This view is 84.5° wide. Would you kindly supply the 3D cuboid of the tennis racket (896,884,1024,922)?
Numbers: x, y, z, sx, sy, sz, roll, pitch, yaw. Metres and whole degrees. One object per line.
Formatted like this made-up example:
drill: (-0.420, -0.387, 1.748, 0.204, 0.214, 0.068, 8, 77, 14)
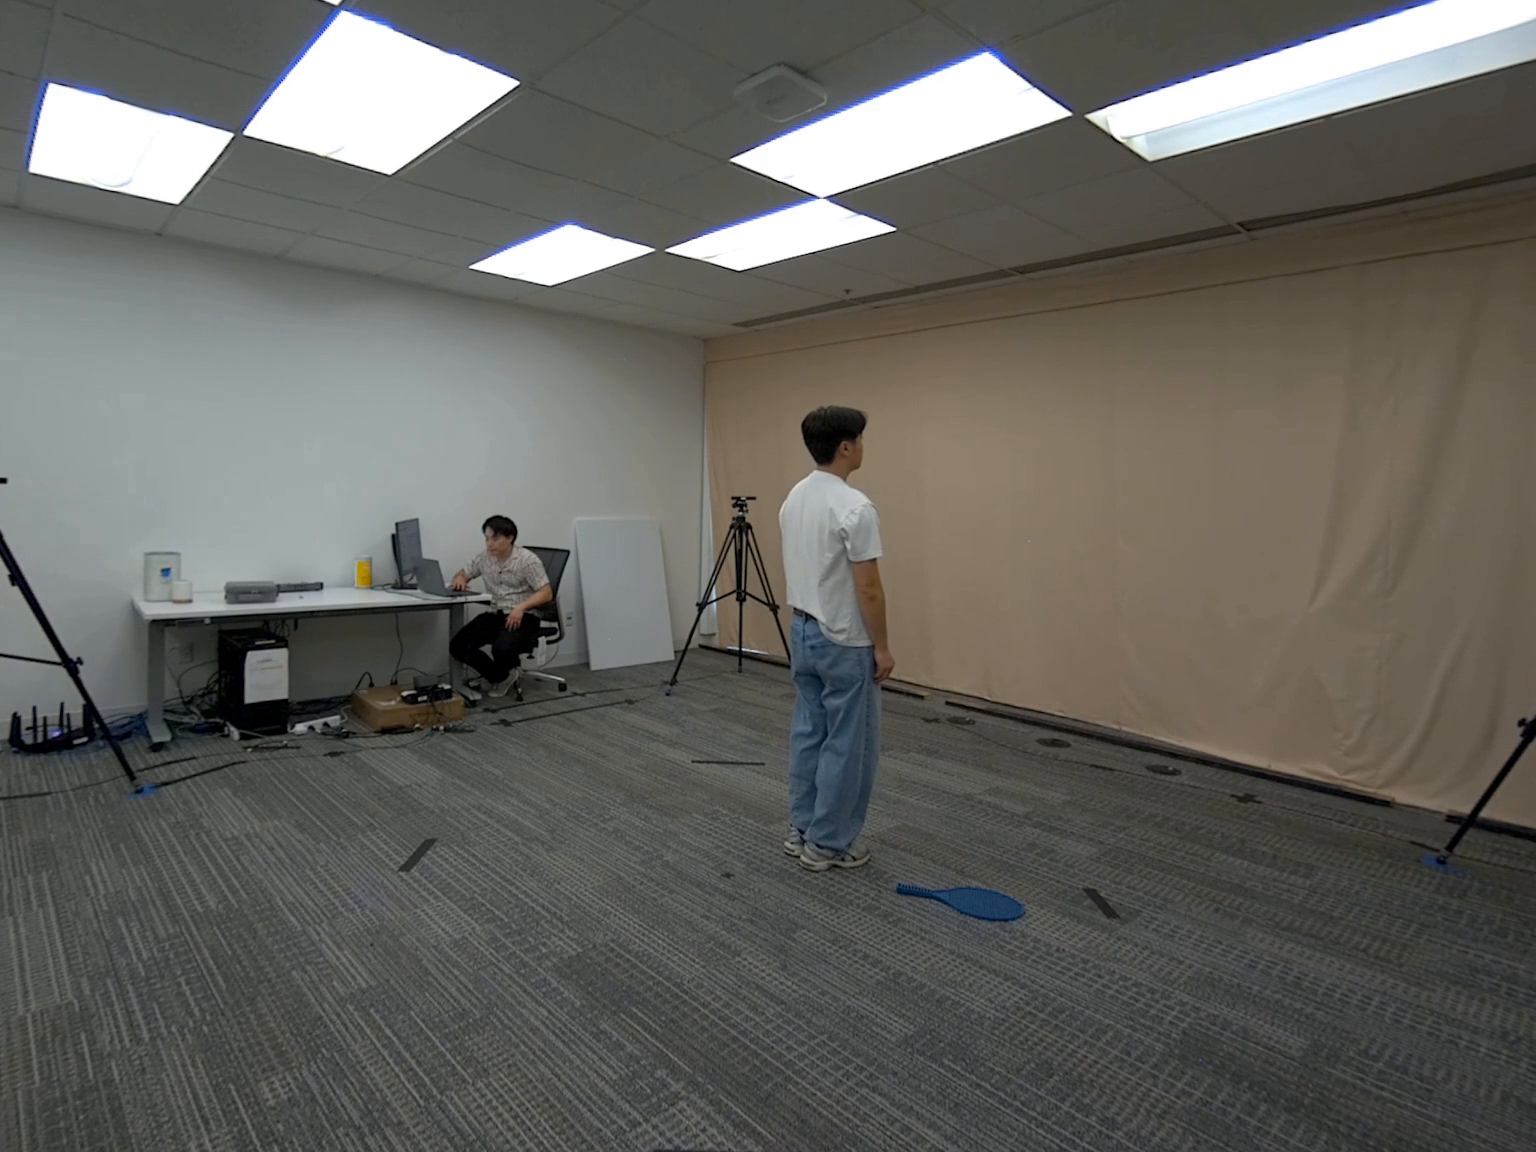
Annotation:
tennis racket: (0.658, 1.128, 2.949, 0.439, 0.031, 0.211, 5, 5, 16)
